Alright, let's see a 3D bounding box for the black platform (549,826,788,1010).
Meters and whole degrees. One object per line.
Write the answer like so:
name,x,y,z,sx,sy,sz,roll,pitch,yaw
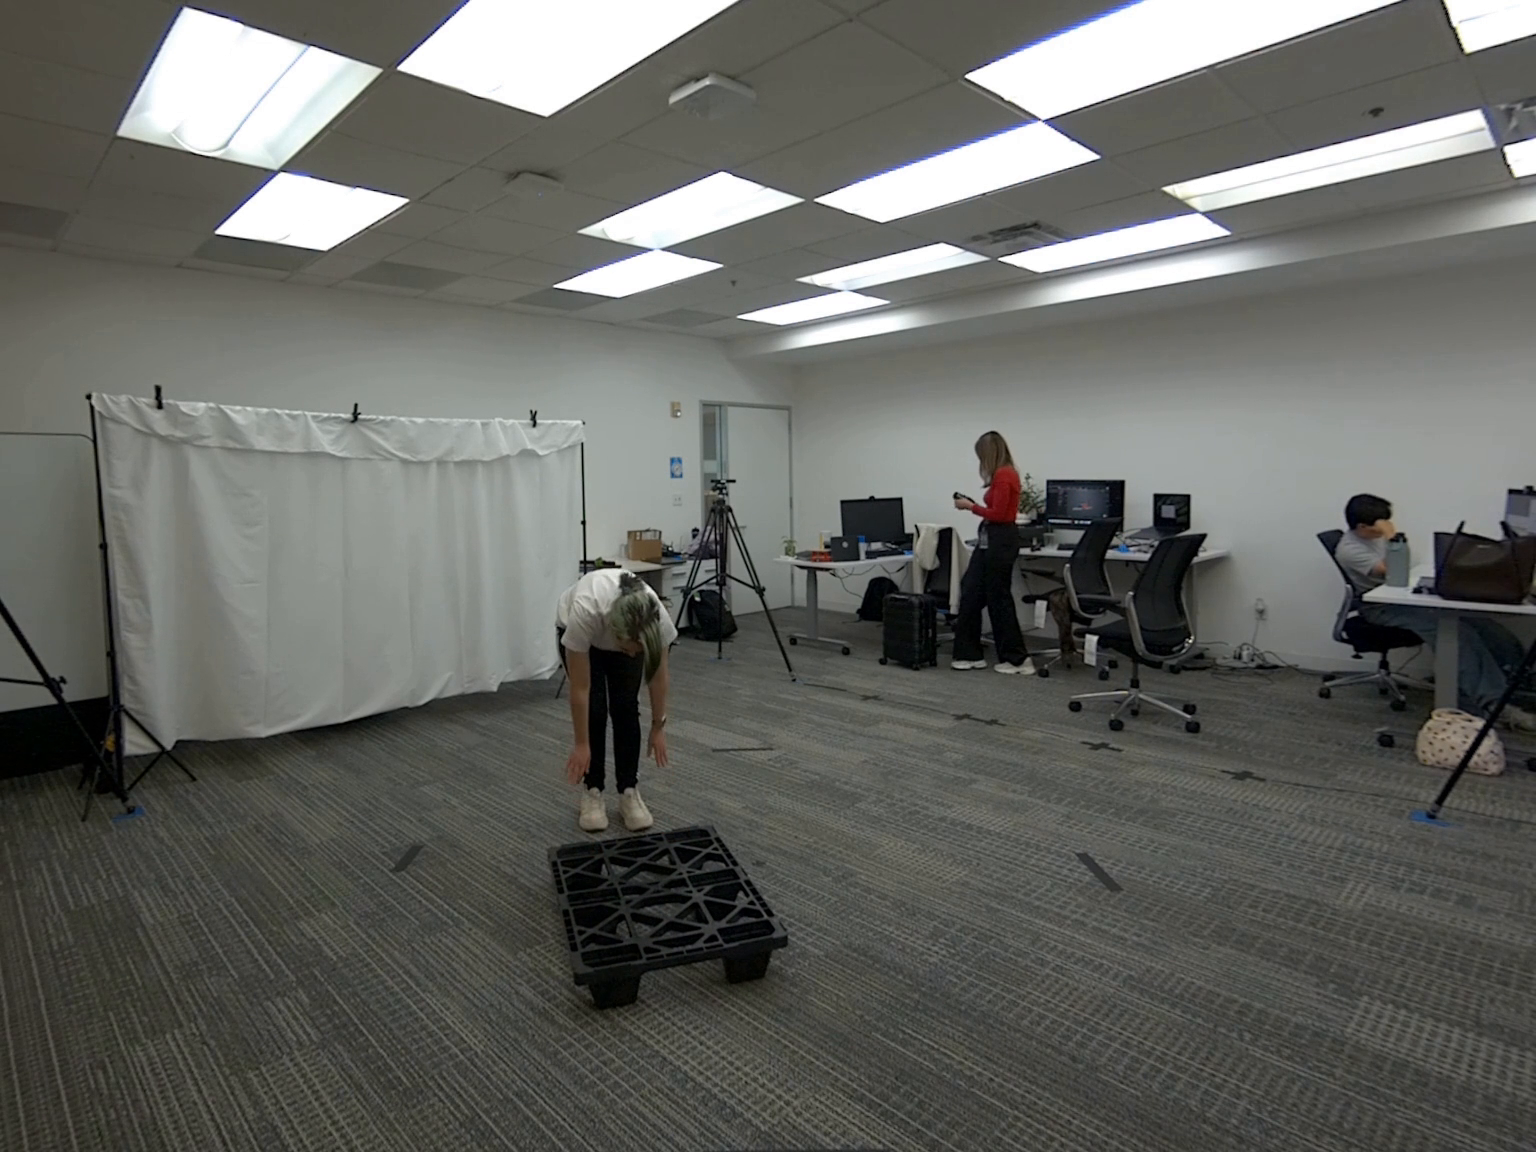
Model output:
black platform,-0.350,1.037,2.675,0.596,0.142,0.822,-4,7,-18
